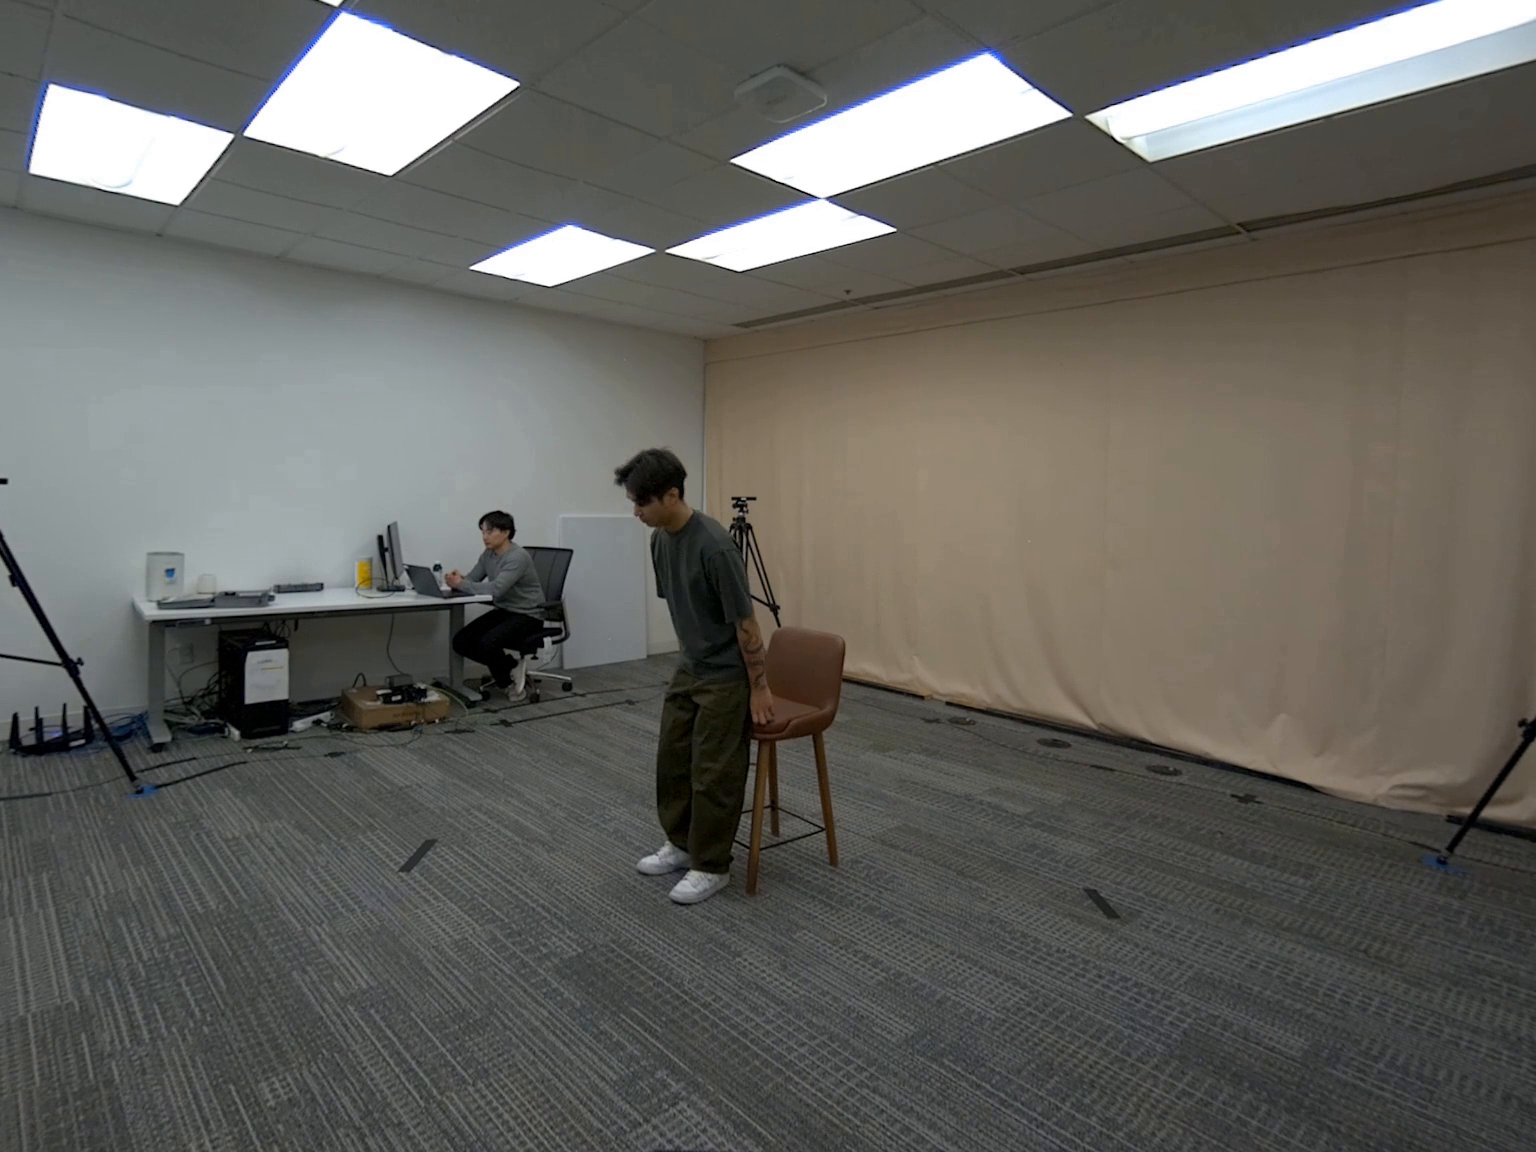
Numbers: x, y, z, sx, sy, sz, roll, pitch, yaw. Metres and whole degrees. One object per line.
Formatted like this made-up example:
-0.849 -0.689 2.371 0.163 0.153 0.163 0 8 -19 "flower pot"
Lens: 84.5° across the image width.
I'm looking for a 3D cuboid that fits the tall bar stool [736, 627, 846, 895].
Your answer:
-0.009 0.661 3.219 0.457 0.889 0.468 0 2 -39 "tall bar stool"
